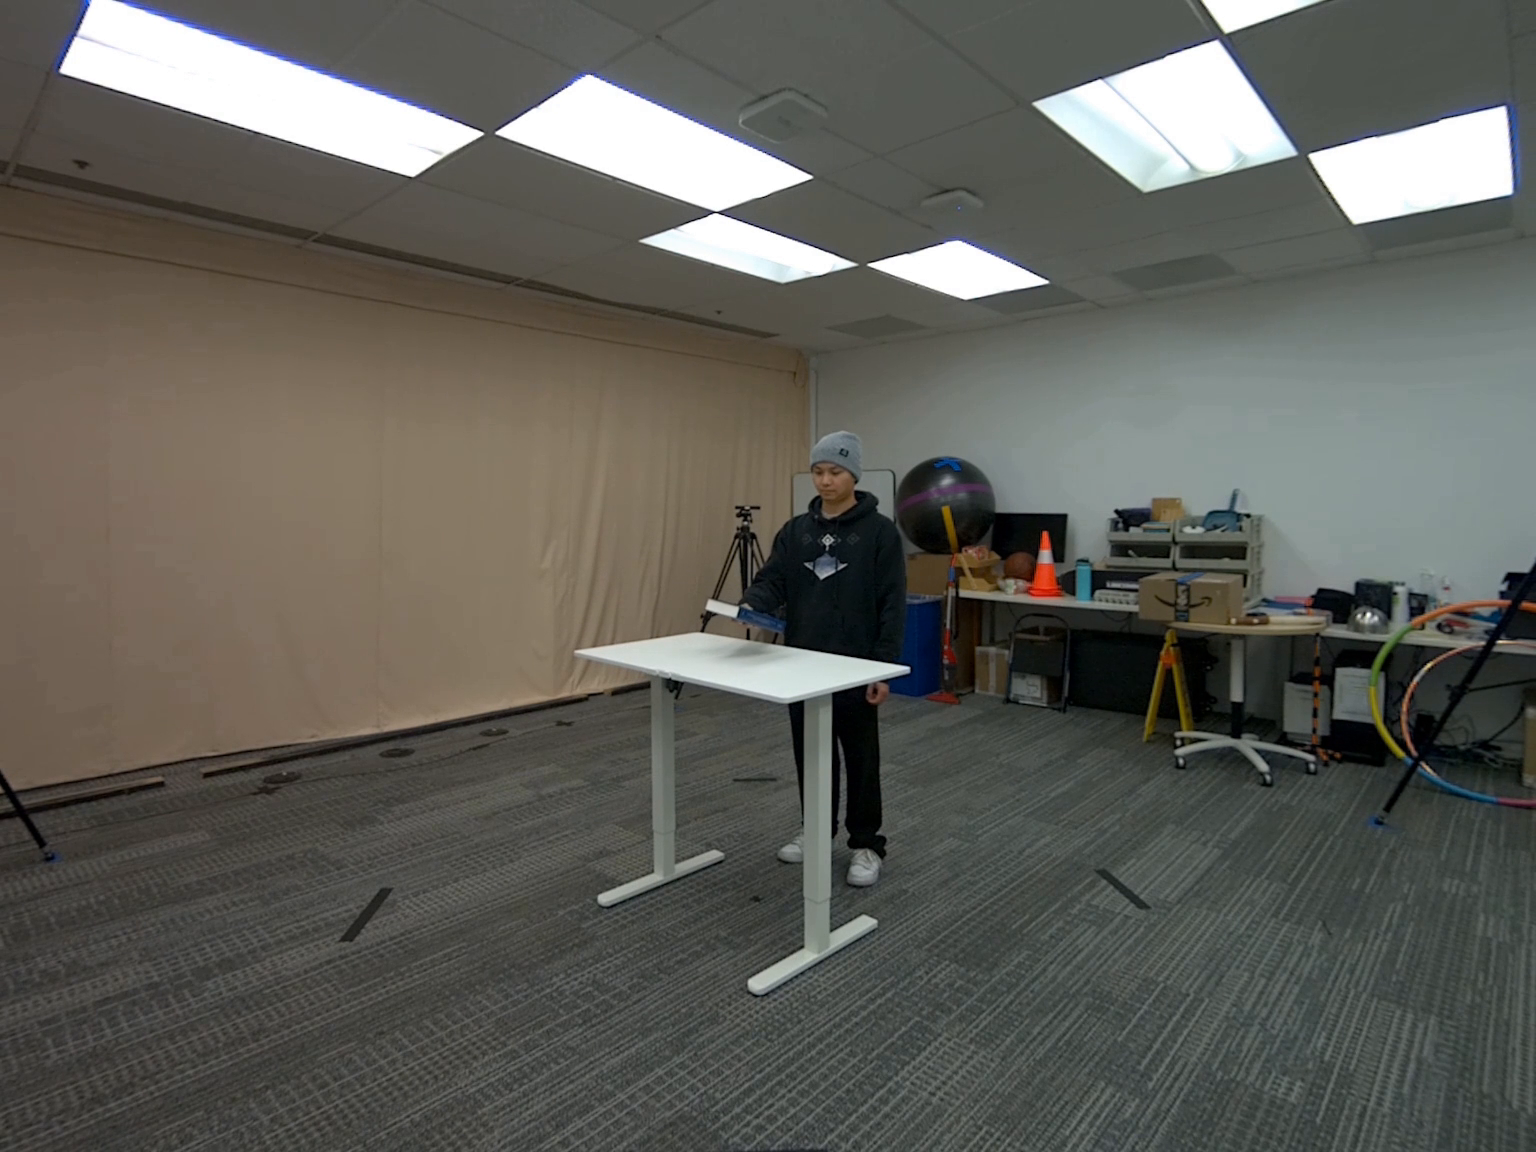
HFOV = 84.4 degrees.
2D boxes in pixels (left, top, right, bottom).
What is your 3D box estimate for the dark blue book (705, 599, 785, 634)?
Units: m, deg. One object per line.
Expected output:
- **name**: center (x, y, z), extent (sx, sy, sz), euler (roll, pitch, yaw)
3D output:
- **dark blue book**: center (-0.079, 0.137, 2.867), extent (0.169, 0.045, 0.236), euler (11, -7, 45)
